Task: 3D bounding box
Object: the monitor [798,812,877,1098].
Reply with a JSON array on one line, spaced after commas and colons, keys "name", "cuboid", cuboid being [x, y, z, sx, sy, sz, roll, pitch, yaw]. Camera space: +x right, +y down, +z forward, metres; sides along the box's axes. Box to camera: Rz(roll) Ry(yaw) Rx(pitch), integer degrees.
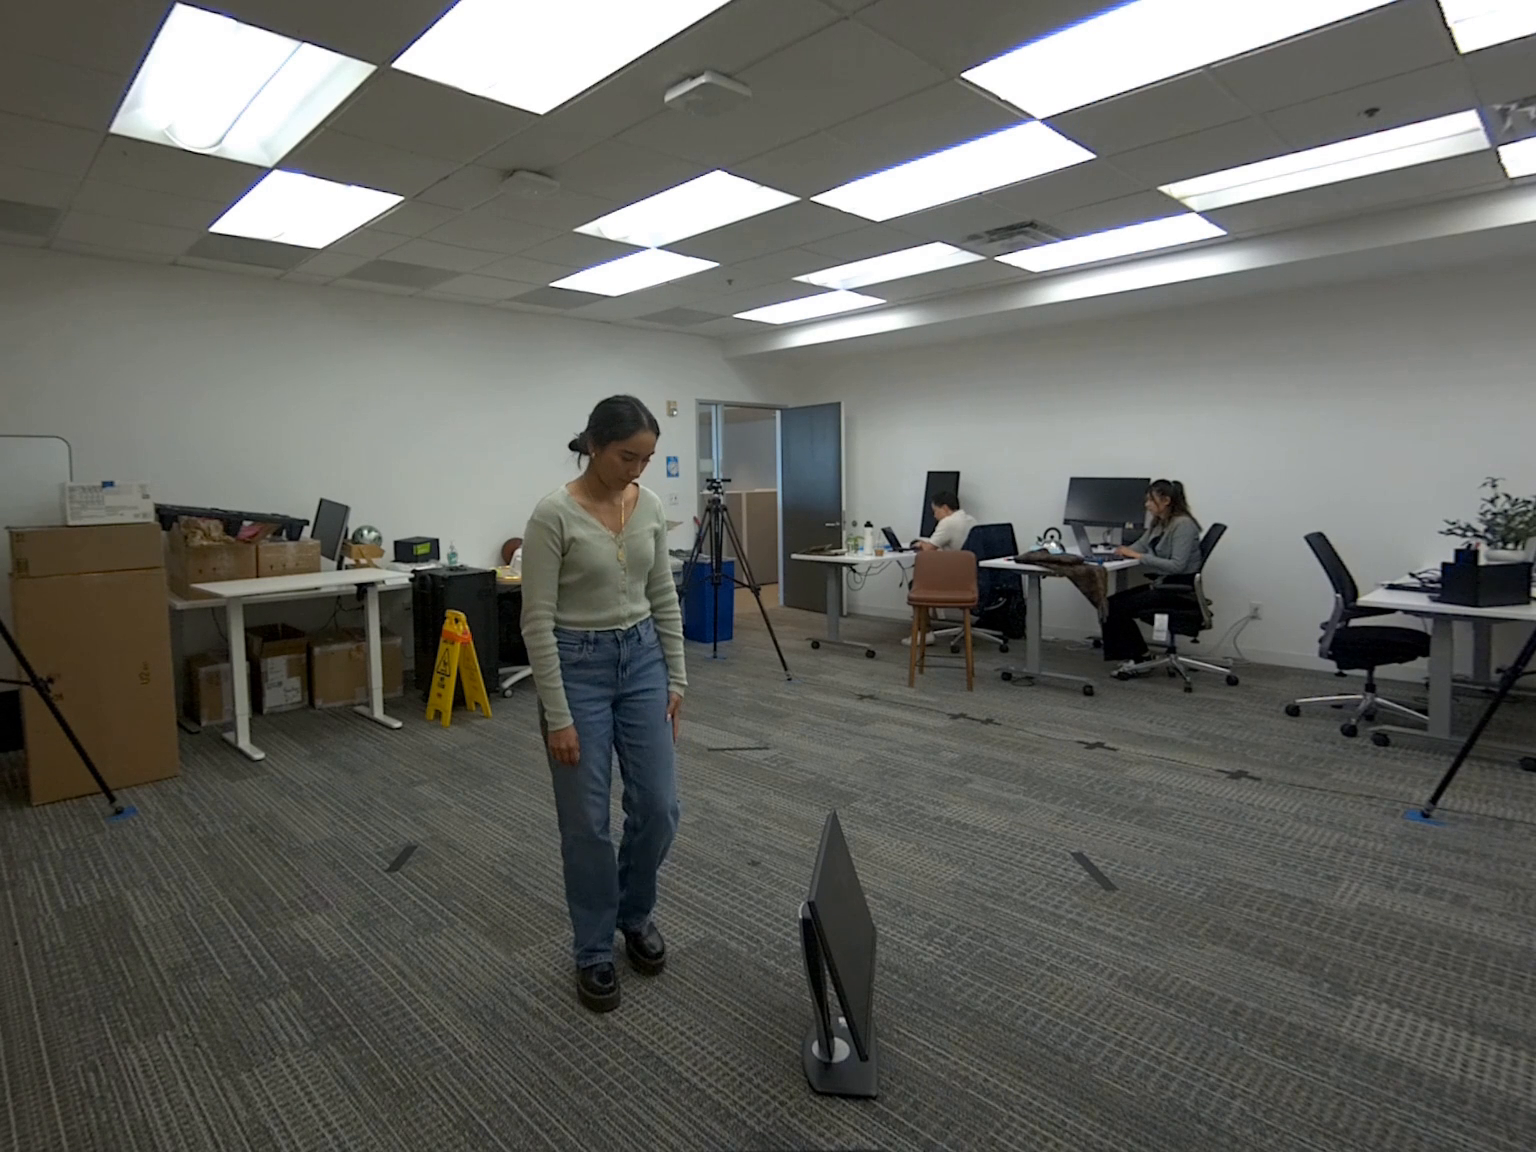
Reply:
[{"name": "monitor", "cuboid": [0.170, 0.900, 2.041, 0.176, 0.514, 0.527, 0, 4, 8]}]
